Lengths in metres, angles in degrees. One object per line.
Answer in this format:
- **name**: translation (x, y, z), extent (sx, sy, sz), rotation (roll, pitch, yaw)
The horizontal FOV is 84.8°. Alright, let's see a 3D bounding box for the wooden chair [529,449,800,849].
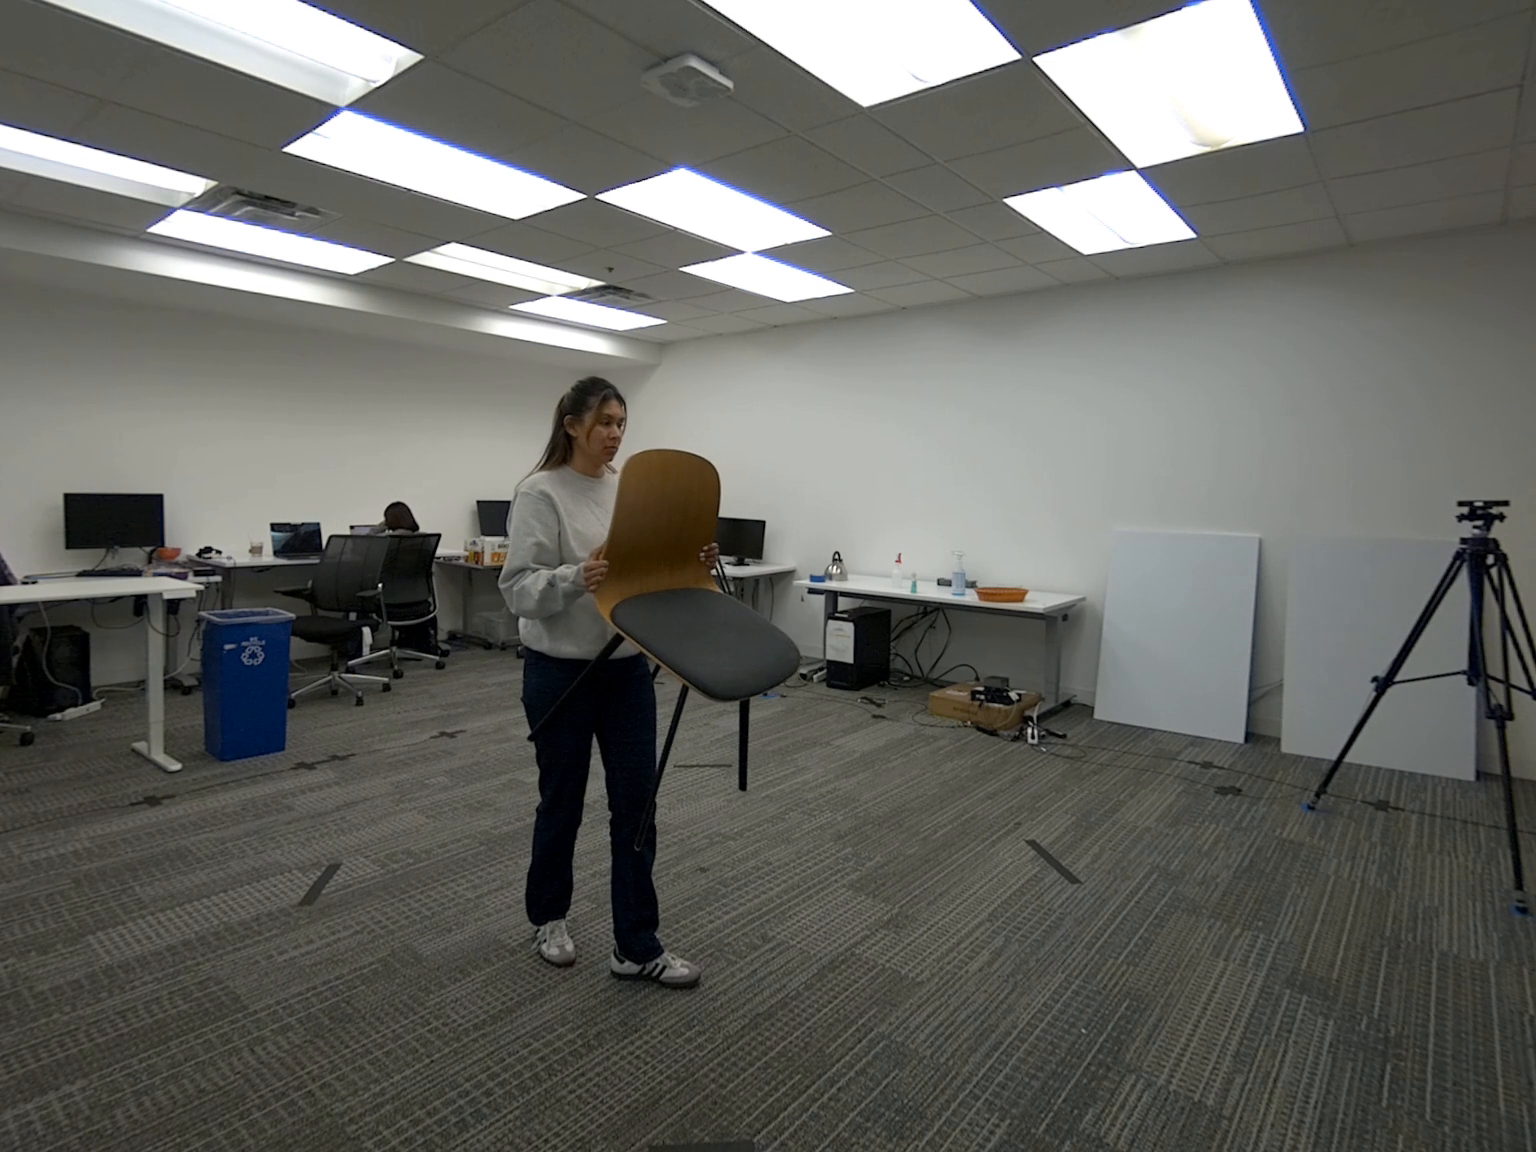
- **wooden chair**: translation (-0.215, 0.168, 2.230), extent (0.543, 0.868, 0.465), rotation (28, 20, 32)
